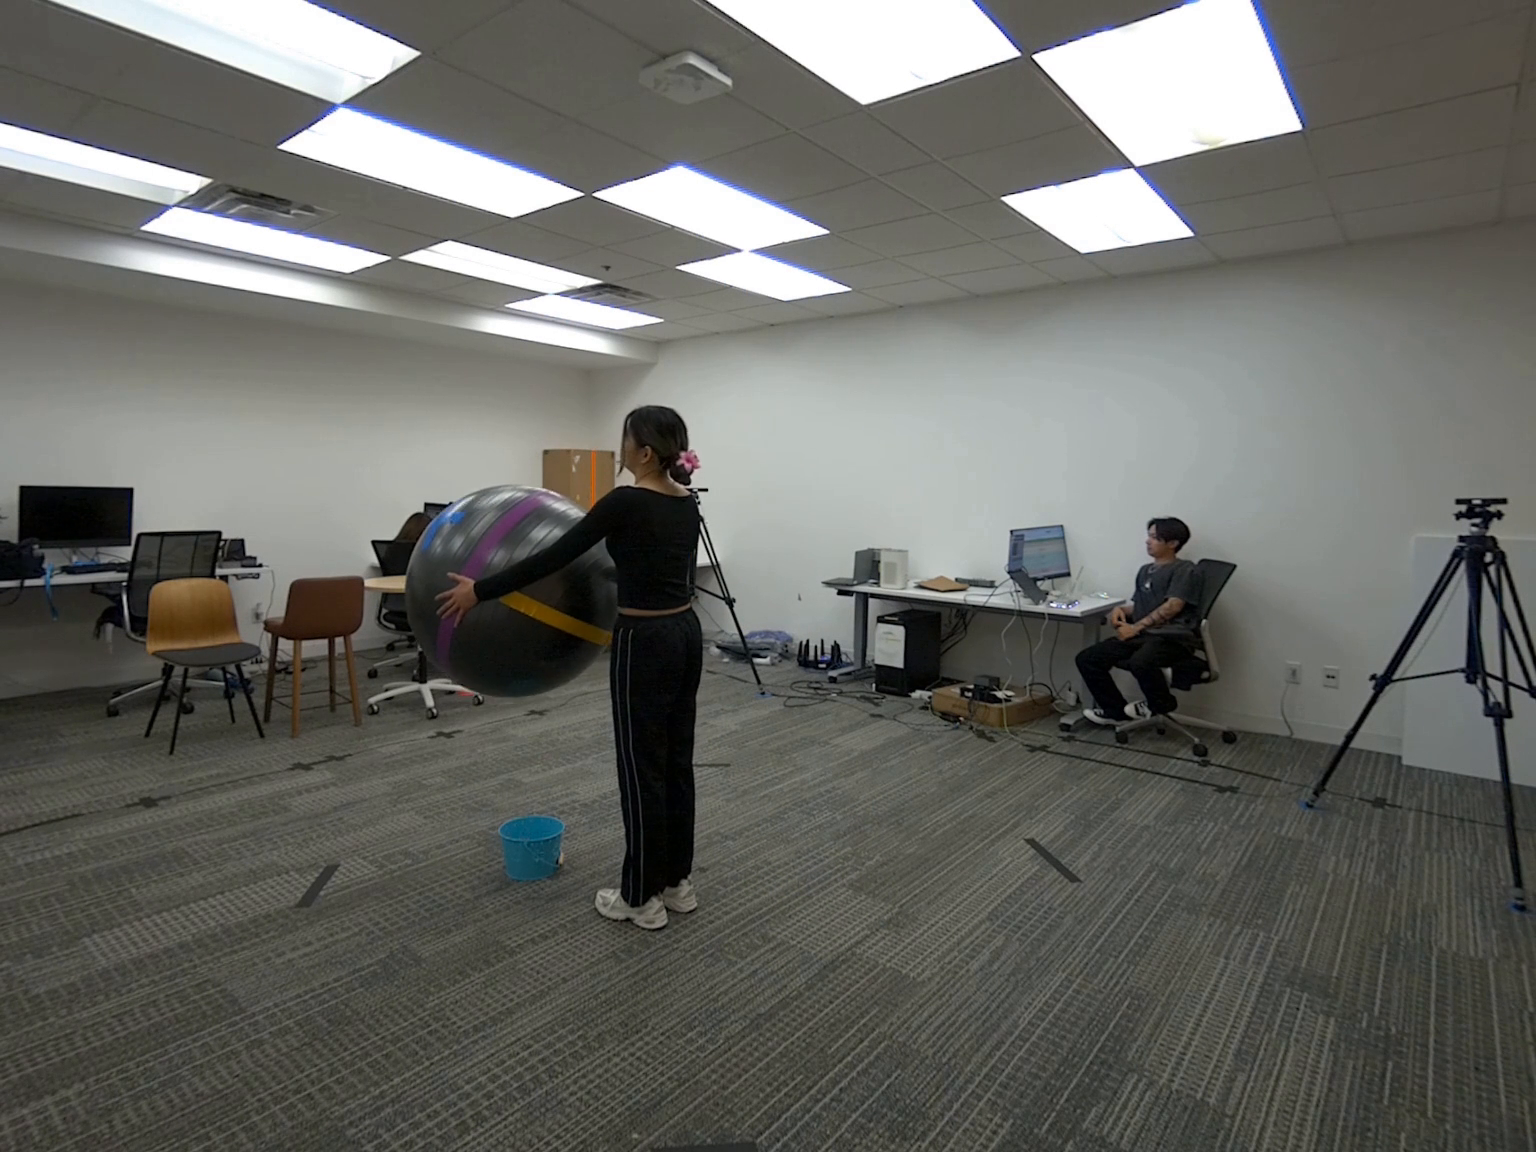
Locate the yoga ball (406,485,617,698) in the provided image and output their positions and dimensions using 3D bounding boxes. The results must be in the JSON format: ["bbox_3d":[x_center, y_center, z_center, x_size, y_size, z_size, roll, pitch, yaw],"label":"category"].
[{"bbox_3d":[-0.919,0.063,3.042,0.757,0.755,0.762,1,4,-2],"label":"yoga ball"}]
